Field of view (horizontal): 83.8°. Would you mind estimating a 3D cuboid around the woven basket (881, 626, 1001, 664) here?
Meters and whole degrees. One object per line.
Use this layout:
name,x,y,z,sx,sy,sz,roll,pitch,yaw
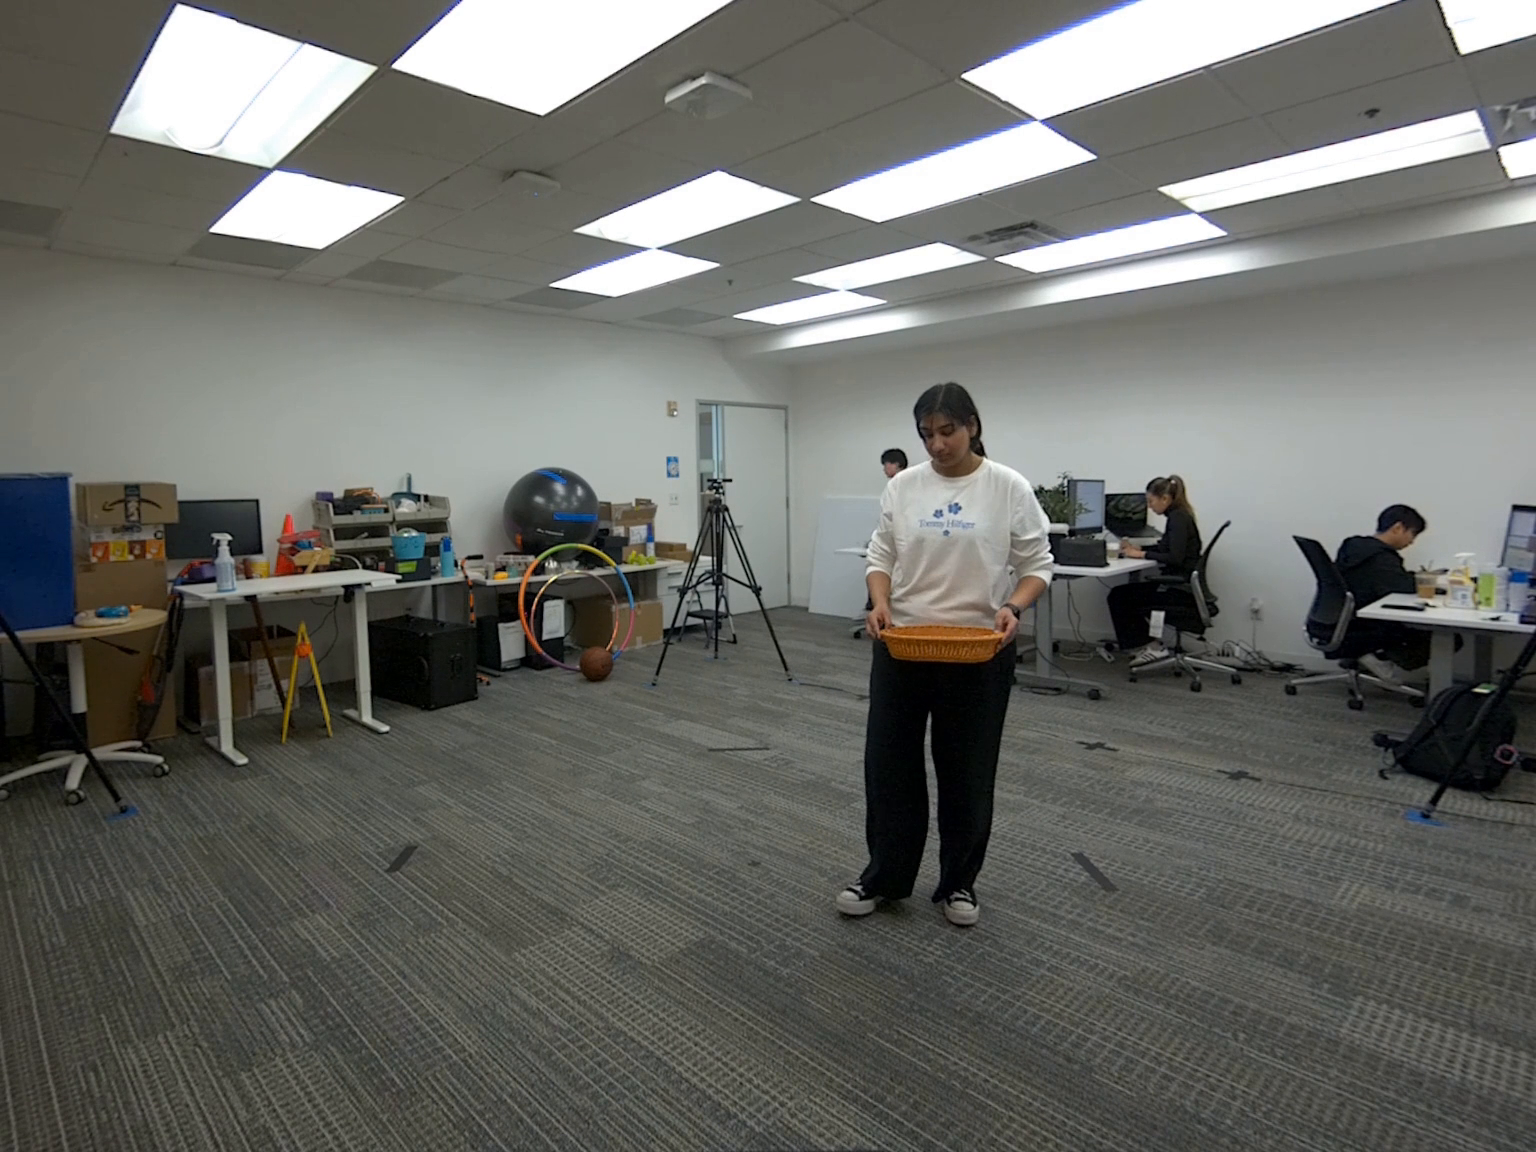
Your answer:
woven basket,0.495,0.196,2.449,0.360,0.073,0.246,2,7,38
